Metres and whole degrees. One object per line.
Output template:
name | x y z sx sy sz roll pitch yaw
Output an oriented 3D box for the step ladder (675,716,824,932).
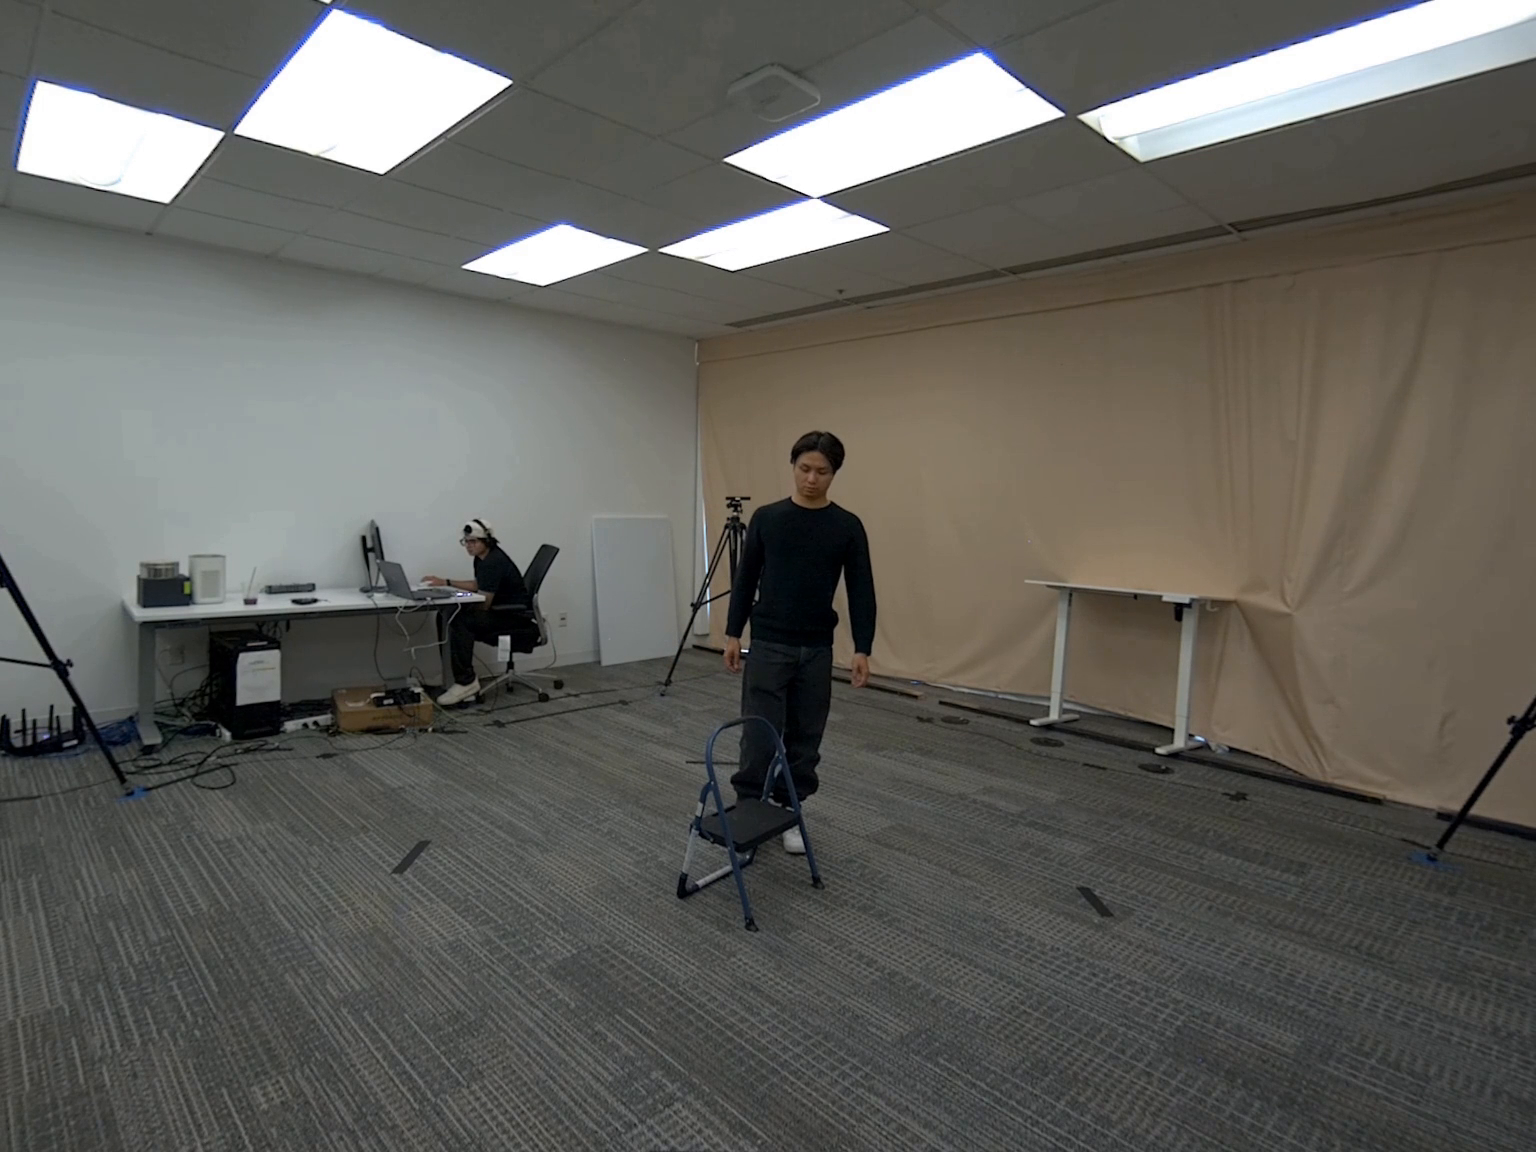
step ladder | -0.058 0.818 2.957 0.358 0.605 0.421 4 4 37
